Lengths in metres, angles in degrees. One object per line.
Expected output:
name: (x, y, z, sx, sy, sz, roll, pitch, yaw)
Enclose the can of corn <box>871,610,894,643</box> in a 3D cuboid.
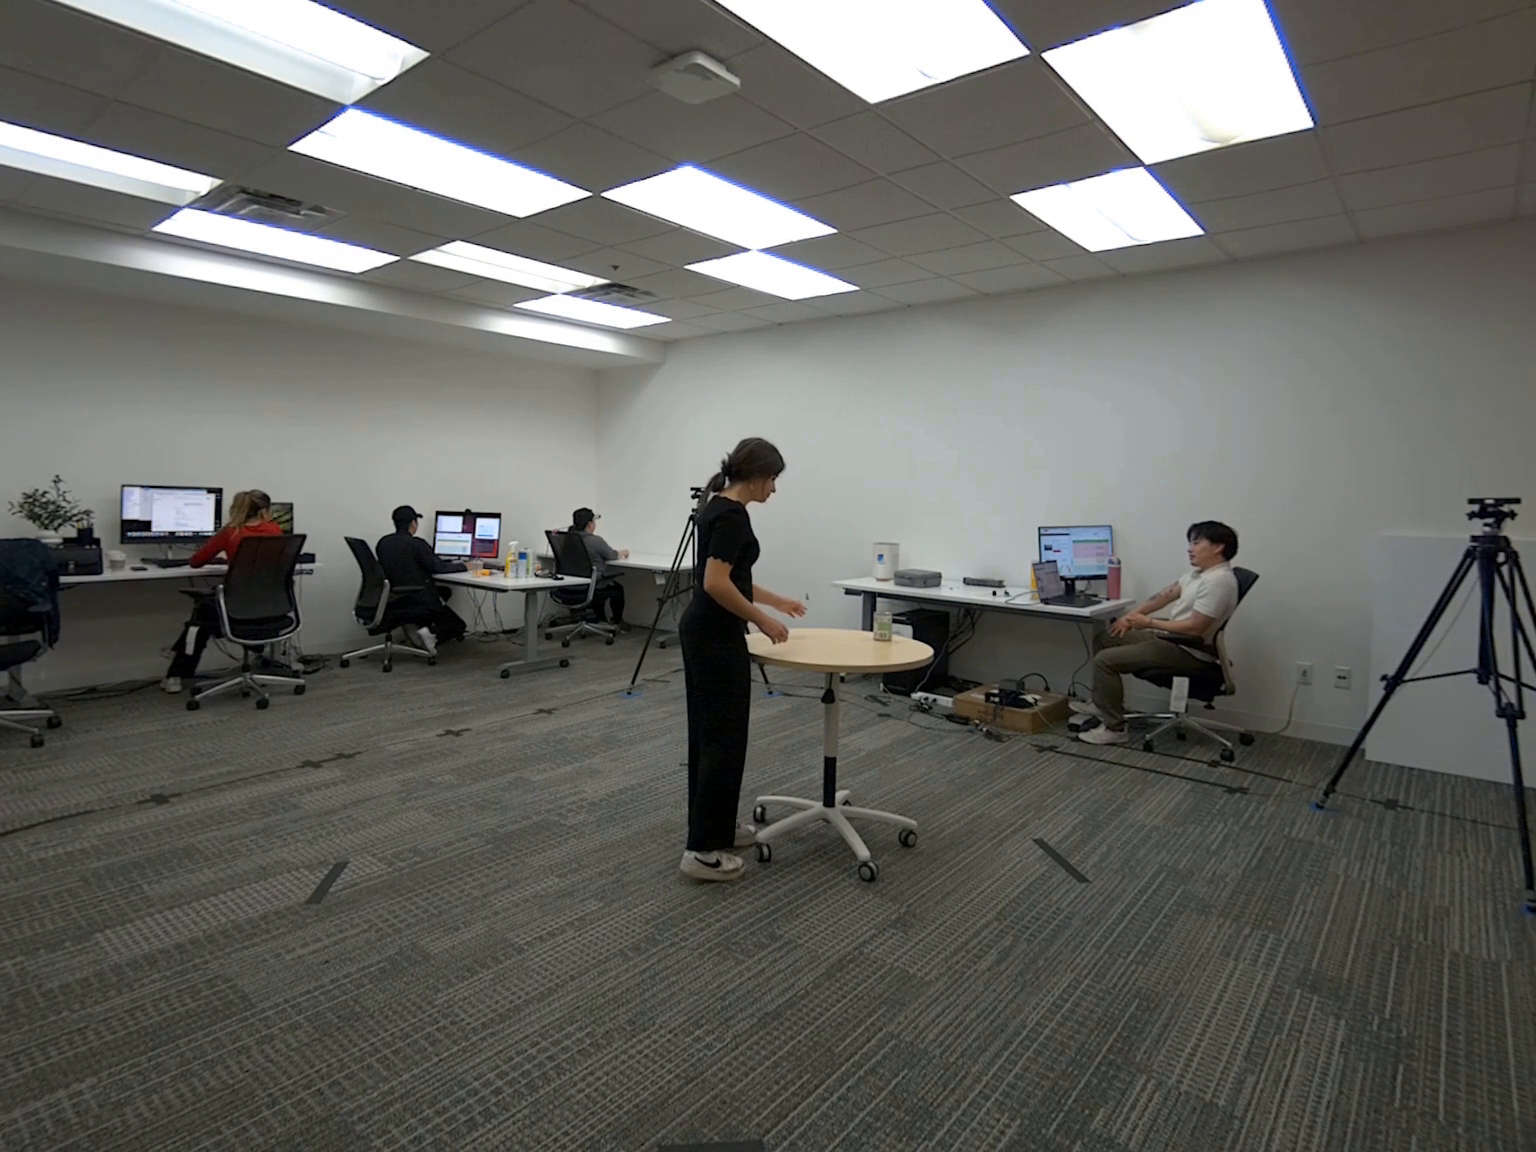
can of corn: (0.459, 0.205, 3.476, 0.074, 0.111, 0.074, 1, 3, -2)
